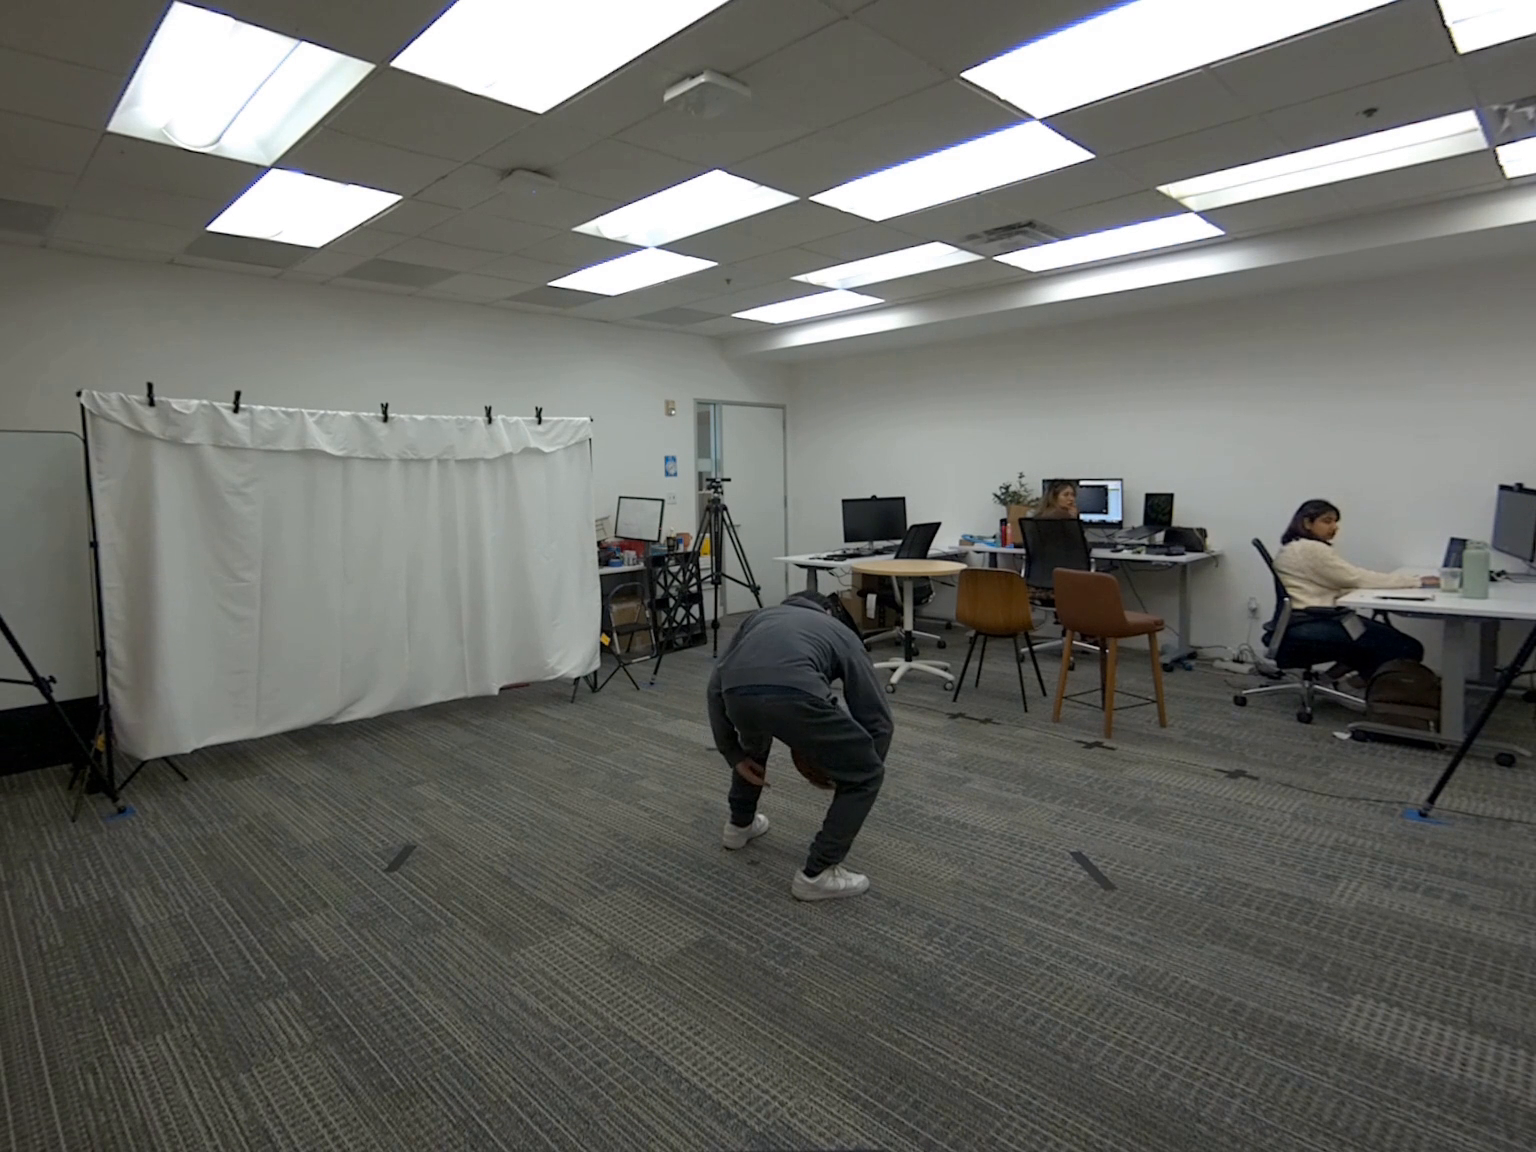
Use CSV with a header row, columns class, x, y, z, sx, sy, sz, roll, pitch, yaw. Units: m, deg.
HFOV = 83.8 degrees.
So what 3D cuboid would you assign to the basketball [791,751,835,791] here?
class,x,y,z,sx,sy,sz,roll,pitch,yaw
basketball,0.206,0.631,3.108,0.236,0.235,0.237,-1,5,-2
